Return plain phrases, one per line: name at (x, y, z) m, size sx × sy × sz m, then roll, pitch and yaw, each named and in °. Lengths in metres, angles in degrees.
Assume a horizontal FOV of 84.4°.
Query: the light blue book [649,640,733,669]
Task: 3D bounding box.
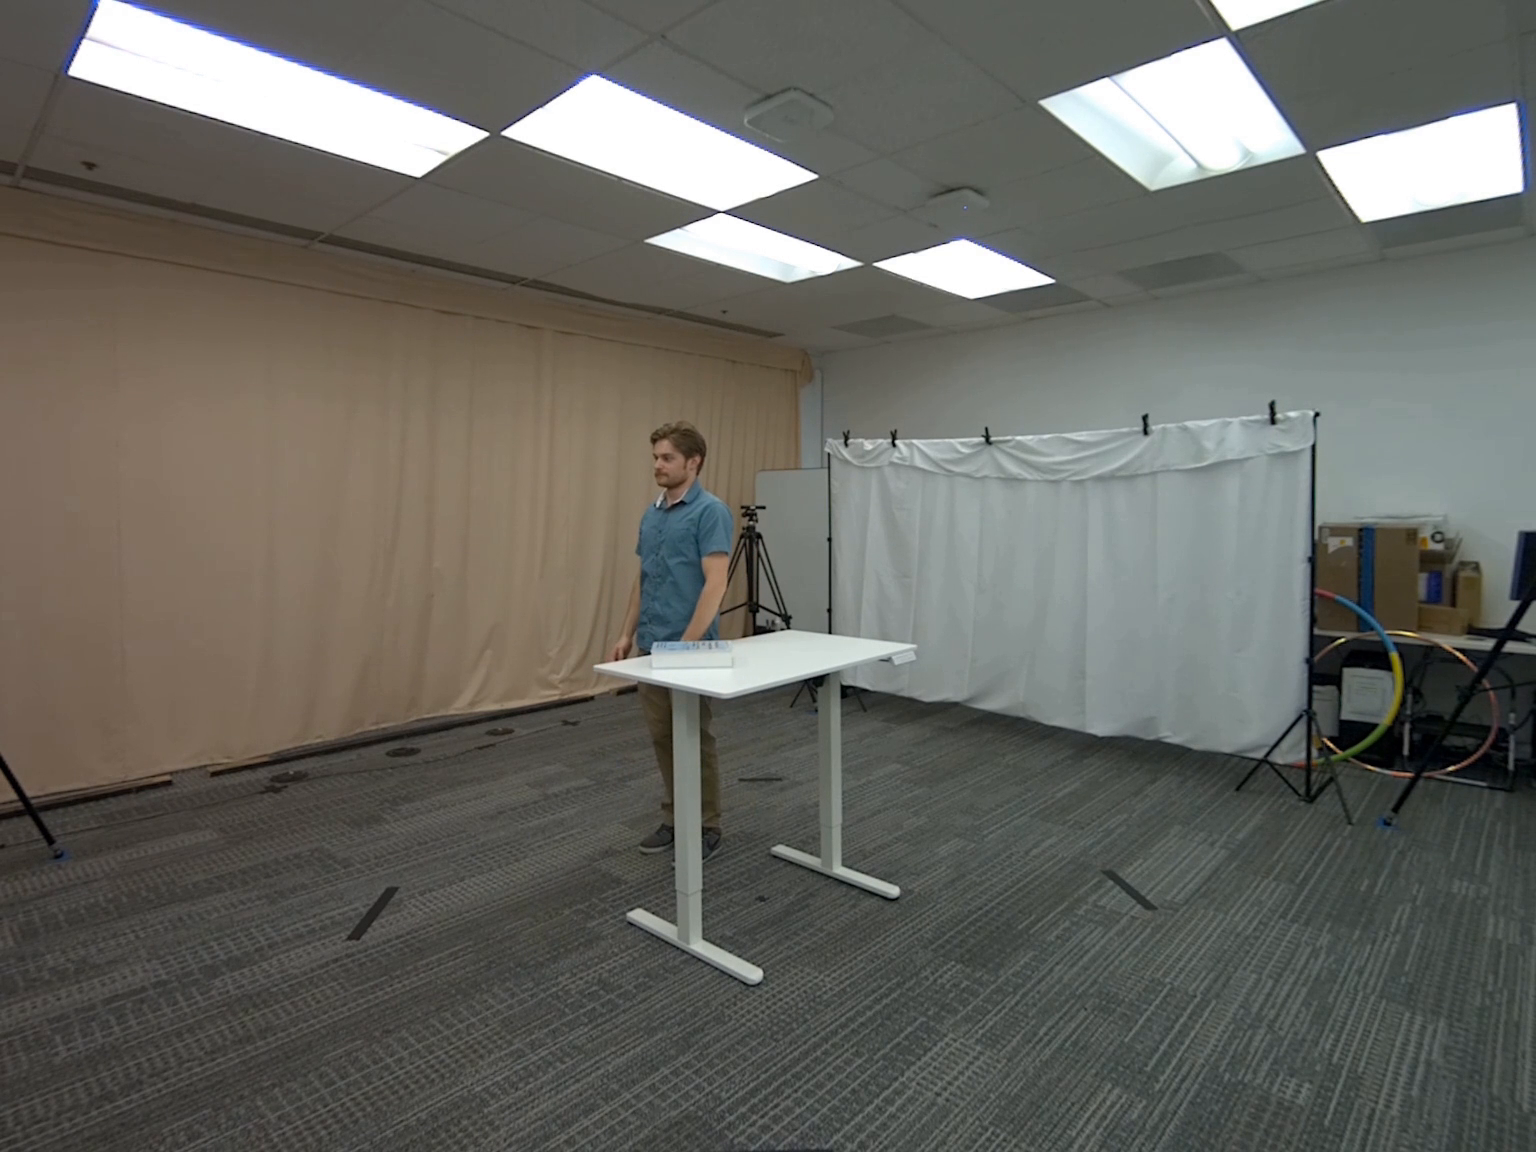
light blue book at (-0.245, 0.256, 2.747) m, size 0.260 × 0.059 × 0.192 m, roll -1°, pitch 5°, yaw -3°
